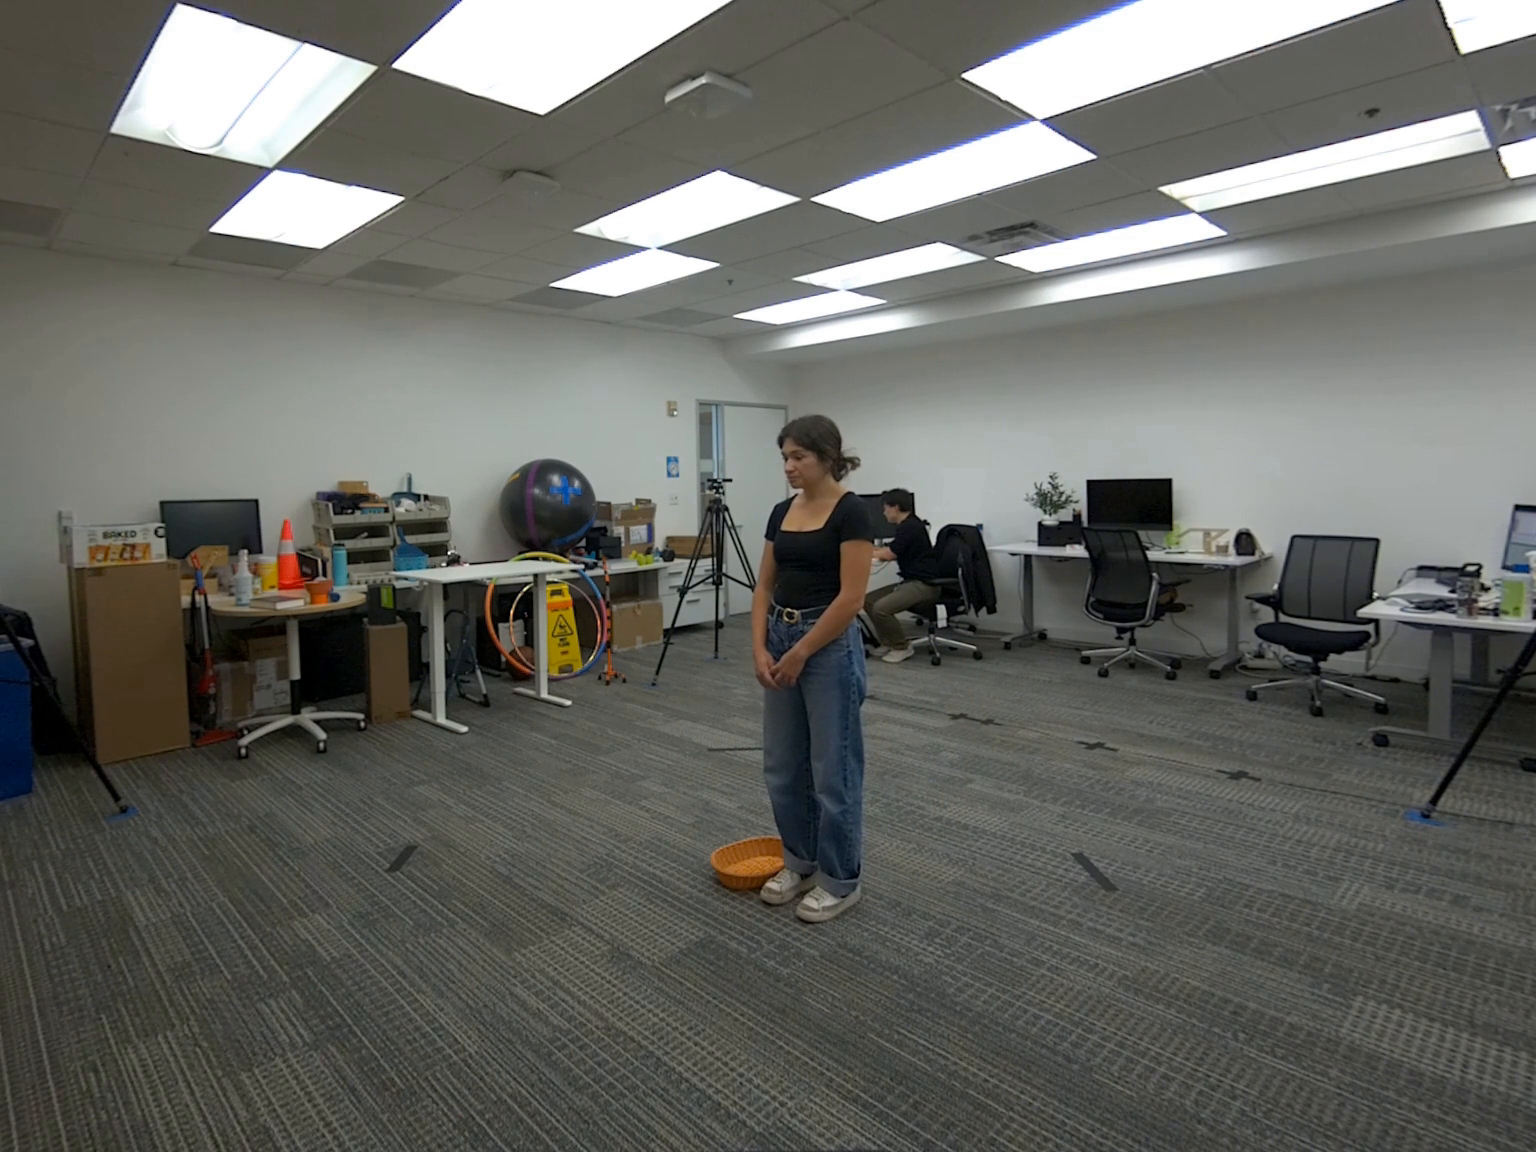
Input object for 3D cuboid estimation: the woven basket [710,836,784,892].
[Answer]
[{"bbox_3d":[-0.039,1.016,3.017,0.342,0.073,0.260,-4,8,-32],"label":"woven basket"}]
